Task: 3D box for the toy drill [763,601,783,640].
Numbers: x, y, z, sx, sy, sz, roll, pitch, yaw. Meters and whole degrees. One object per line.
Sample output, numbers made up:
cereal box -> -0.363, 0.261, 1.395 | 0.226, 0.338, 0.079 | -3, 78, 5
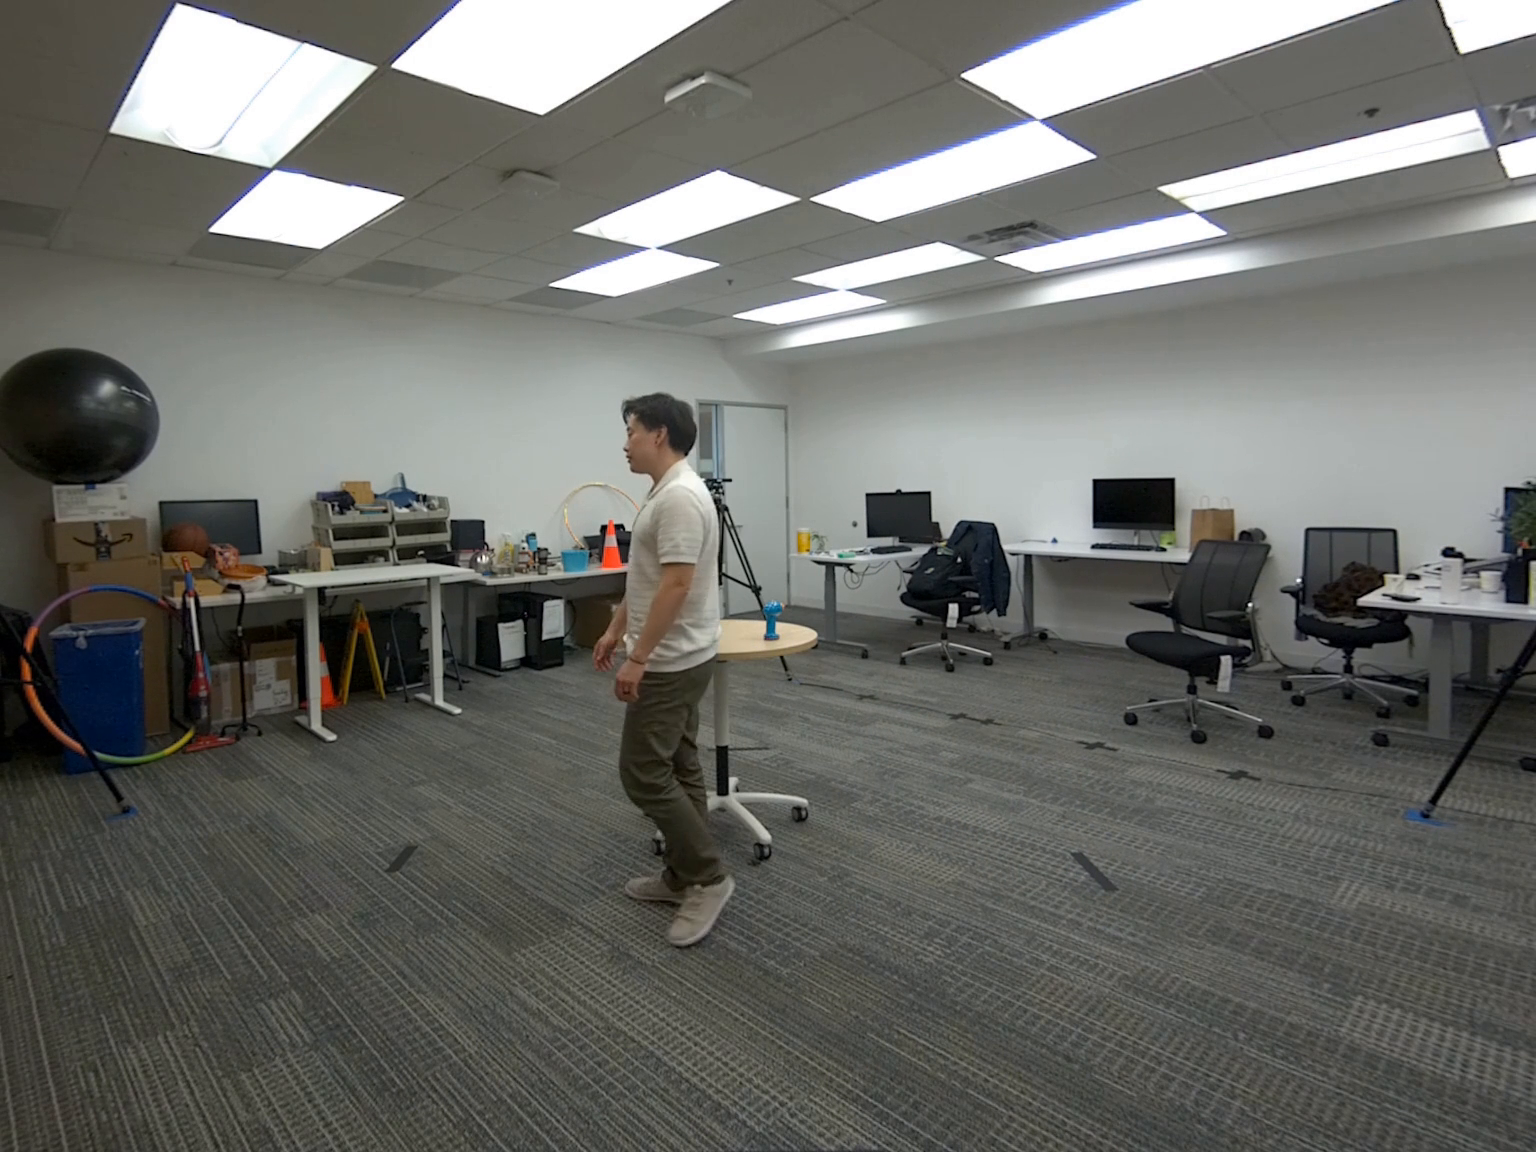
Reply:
toy drill -> 0.025, 0.163, 3.288 | 0.062, 0.146, 0.167 | 1, 4, 17
